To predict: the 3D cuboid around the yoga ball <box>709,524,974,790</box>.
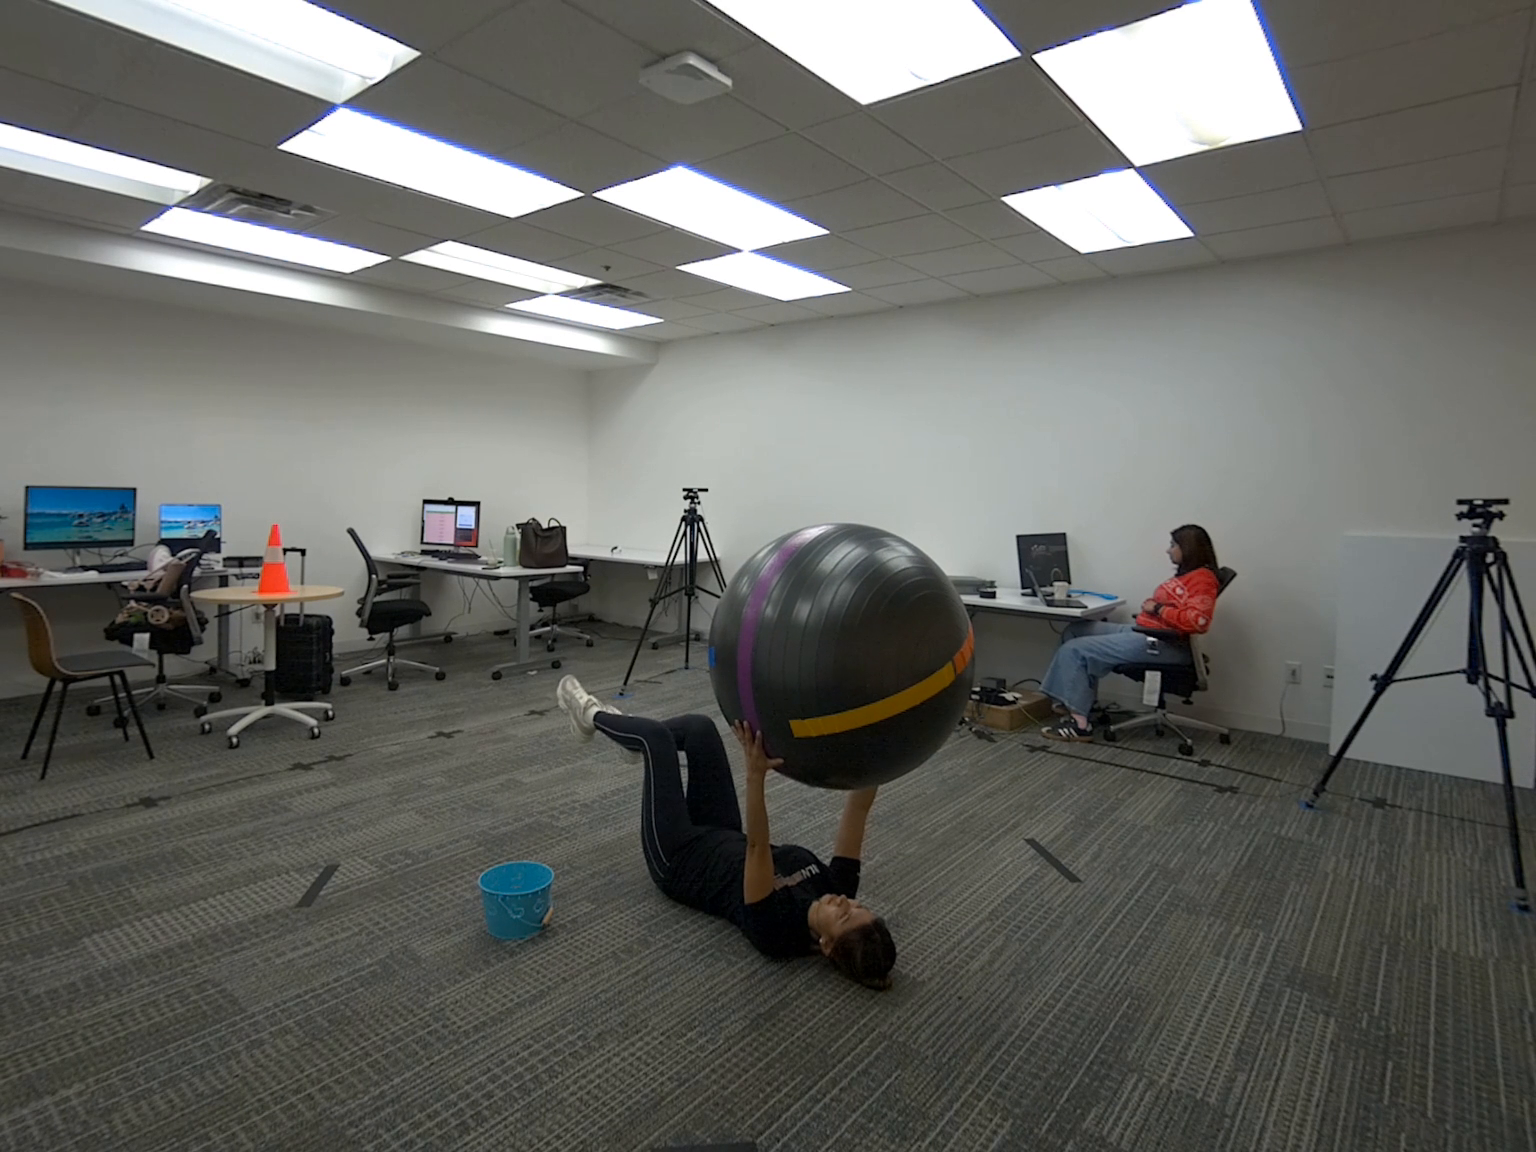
[{"bbox_3d":[0.199,0.226,2.458,0.757,0.756,0.761,-3,3,-2],"label":"yoga ball"}]
